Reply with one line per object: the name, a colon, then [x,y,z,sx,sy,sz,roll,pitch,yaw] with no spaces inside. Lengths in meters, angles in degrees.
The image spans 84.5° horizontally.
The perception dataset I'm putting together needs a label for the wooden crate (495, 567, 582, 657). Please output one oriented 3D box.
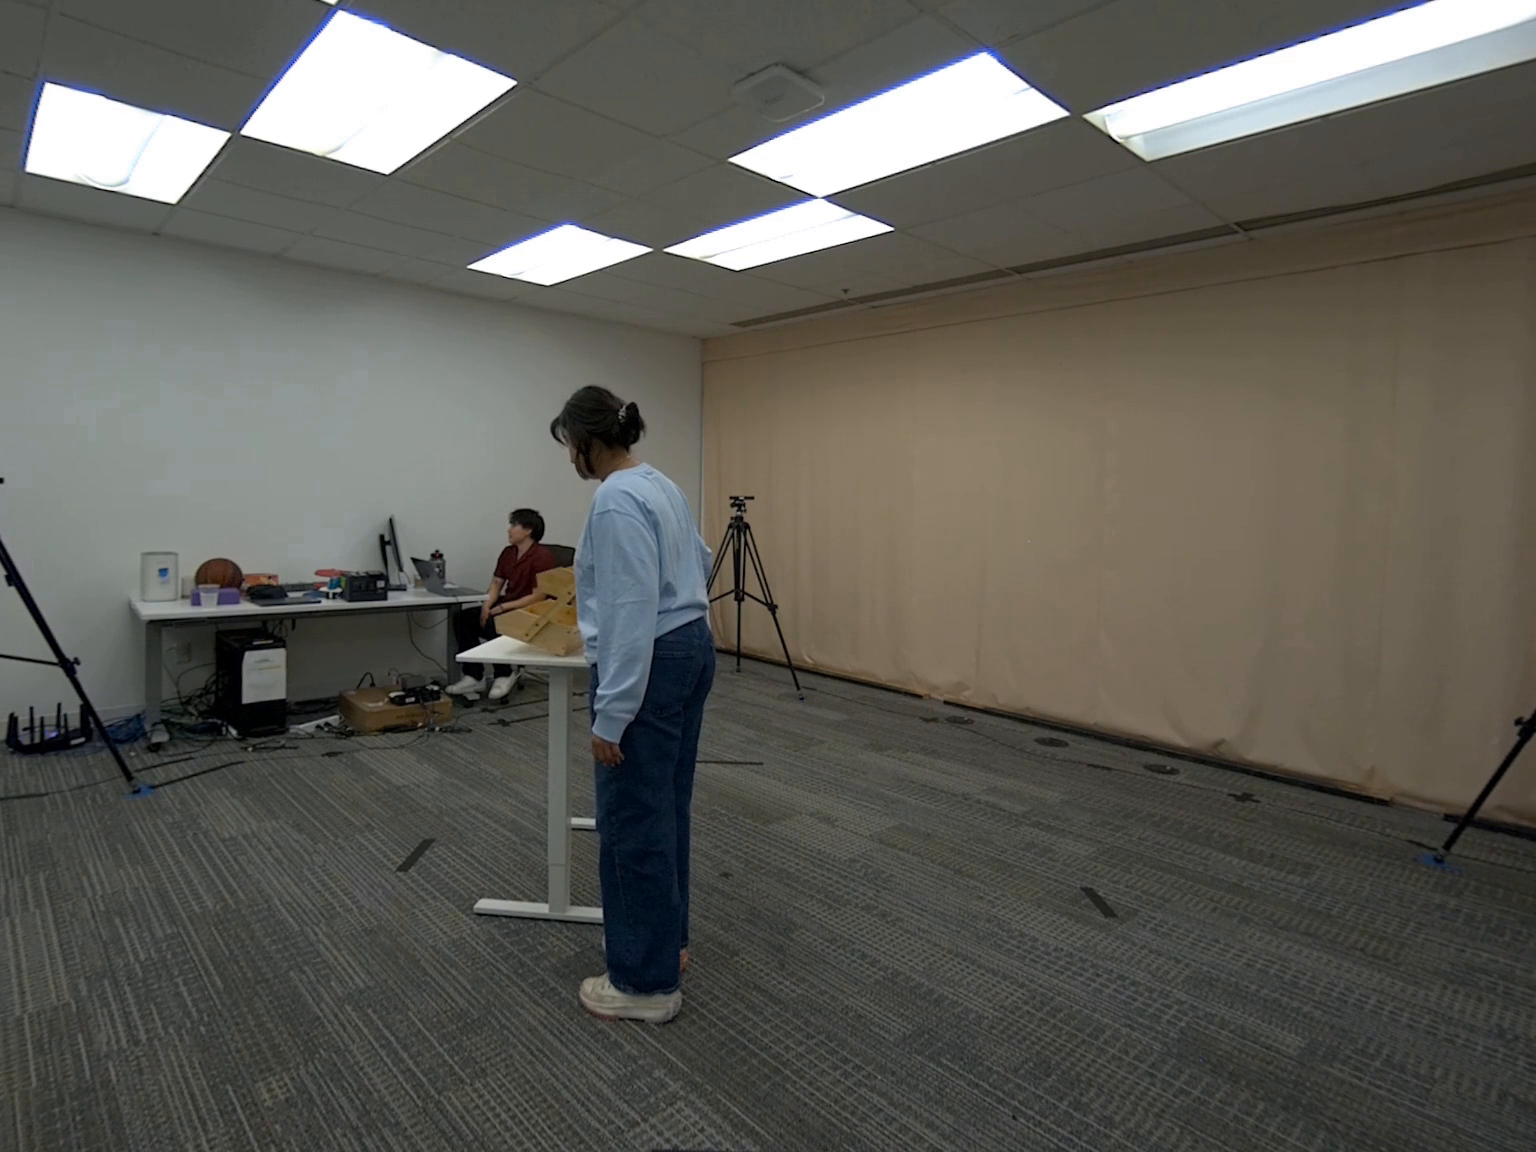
wooden crate: [-0.685,0.085,2.773,0.302,0.272,0.325,18,5,0]
